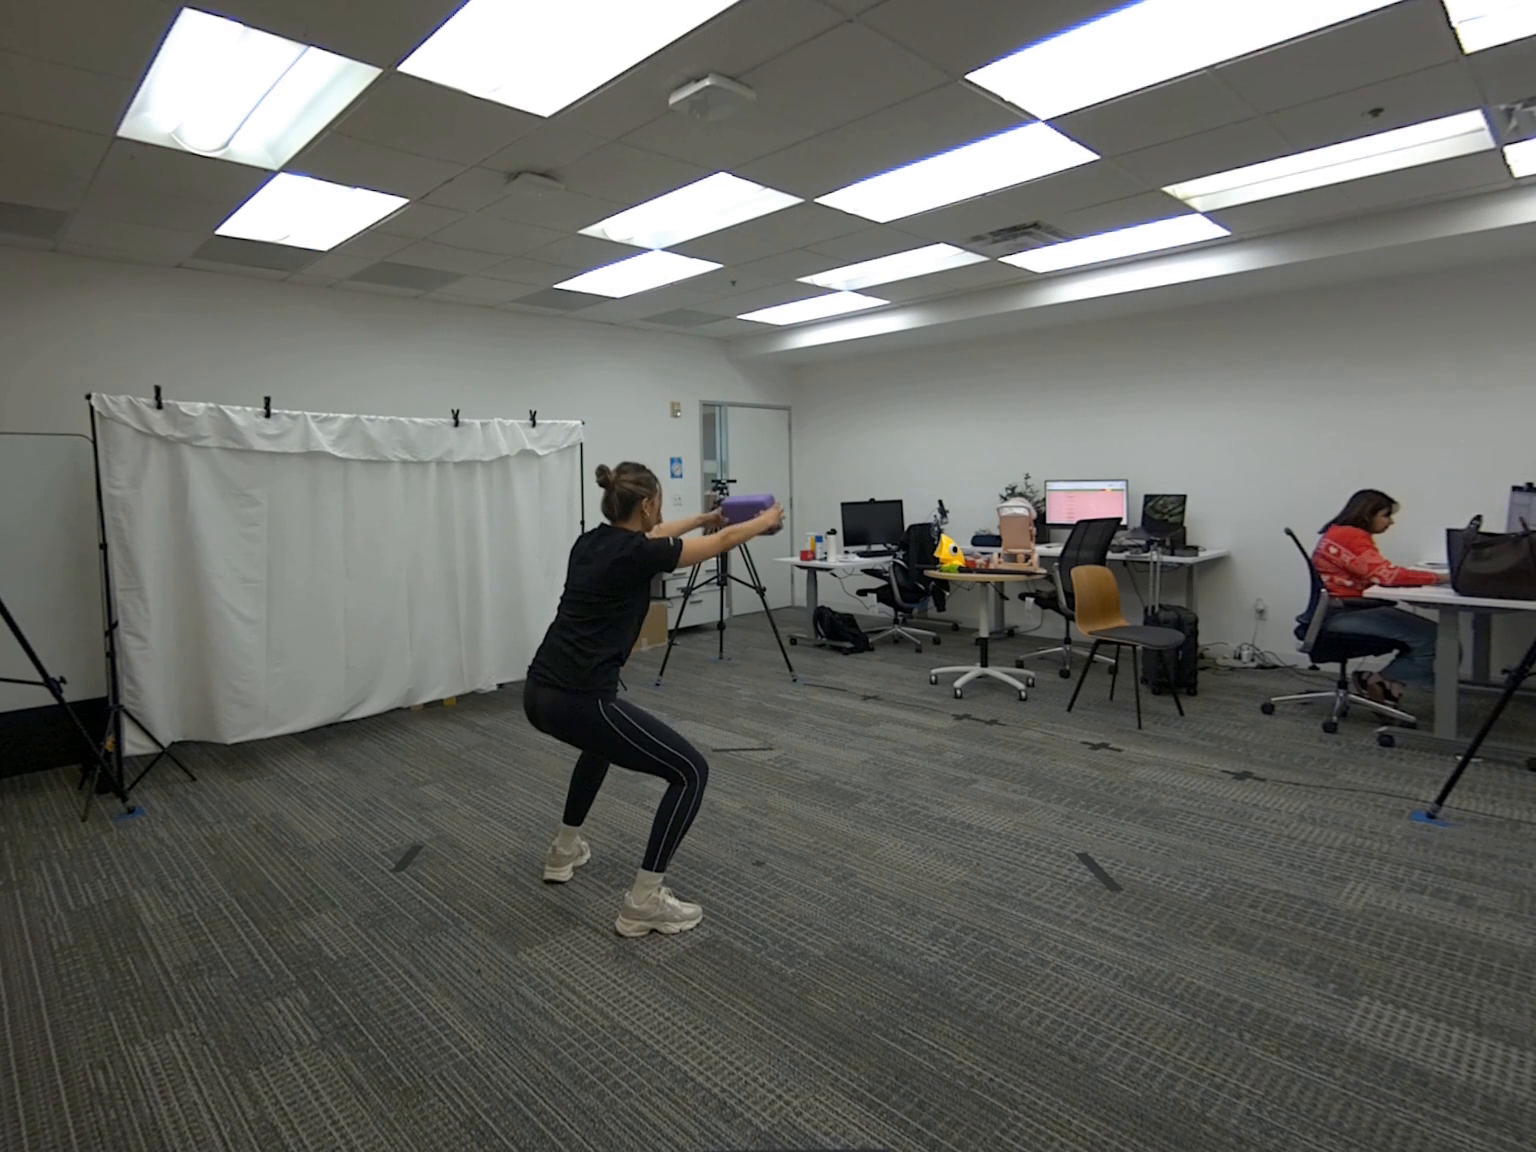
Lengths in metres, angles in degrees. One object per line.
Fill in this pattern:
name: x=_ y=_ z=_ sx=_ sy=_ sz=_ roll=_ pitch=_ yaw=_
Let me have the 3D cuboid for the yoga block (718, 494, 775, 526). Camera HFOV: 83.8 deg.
yoga block: x=-0.069 y=-0.232 z=3.303 sx=0.236 sy=0.146 sz=0.076 roll=0 pitch=26 yaw=42
